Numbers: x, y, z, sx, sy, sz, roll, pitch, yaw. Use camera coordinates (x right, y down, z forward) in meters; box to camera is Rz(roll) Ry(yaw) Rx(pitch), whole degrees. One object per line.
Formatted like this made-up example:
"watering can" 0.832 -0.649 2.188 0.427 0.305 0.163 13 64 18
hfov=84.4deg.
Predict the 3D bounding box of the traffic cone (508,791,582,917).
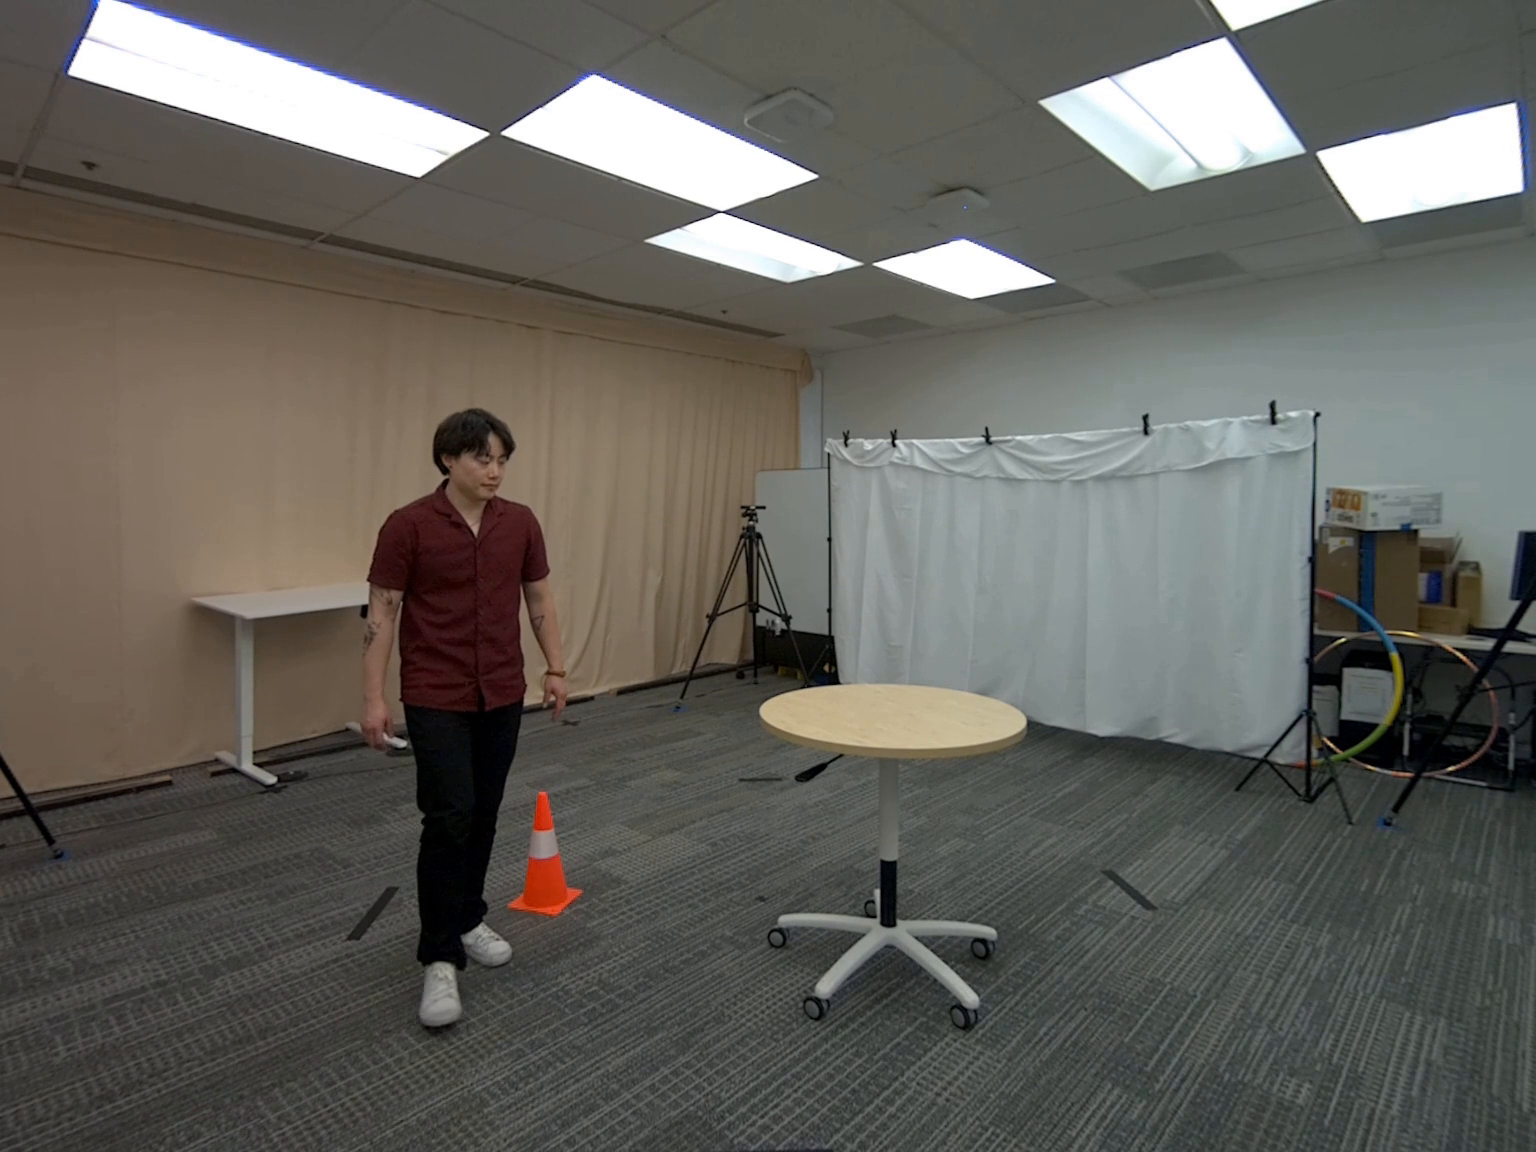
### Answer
"traffic cone" -0.802 0.968 2.983 0.207 0.383 0.201 0 3 18
